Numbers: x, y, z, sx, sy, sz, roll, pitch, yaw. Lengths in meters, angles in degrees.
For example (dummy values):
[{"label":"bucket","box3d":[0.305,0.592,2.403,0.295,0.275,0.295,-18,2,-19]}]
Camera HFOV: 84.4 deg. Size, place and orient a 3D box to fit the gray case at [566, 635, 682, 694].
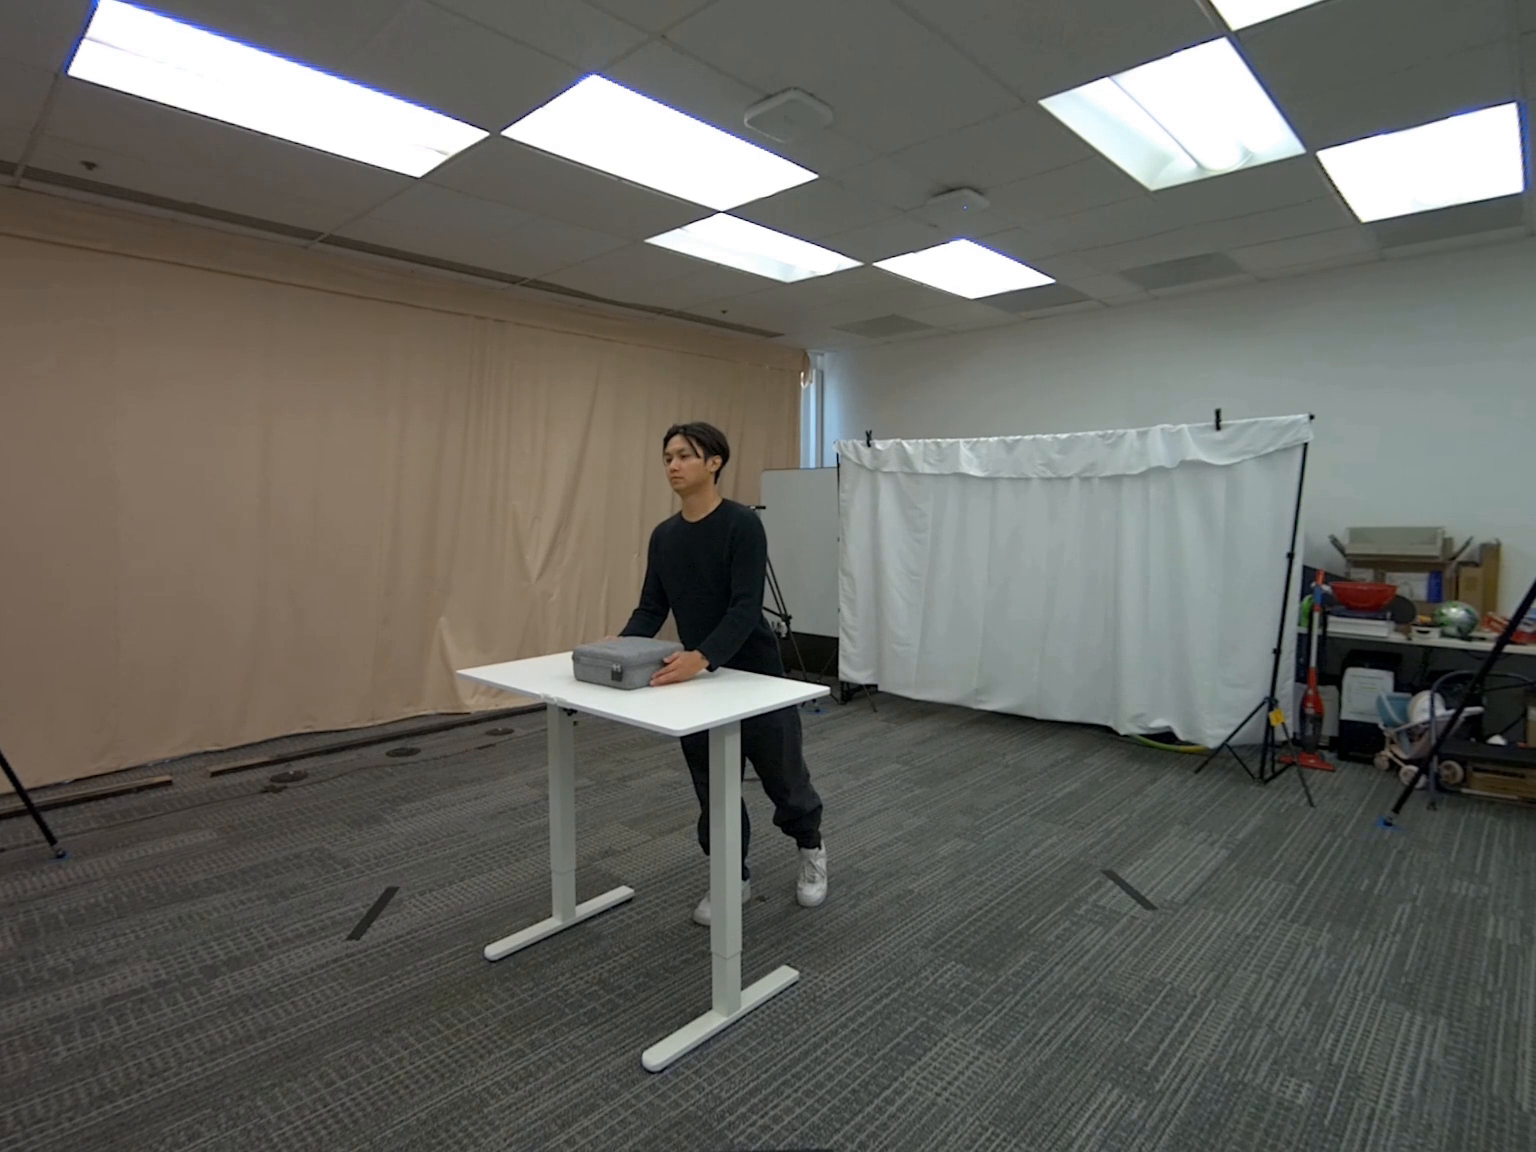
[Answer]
[{"label":"gray case","box3d":[-0.409,0.253,2.502,0.265,0.104,0.253,2,6,37]}]
